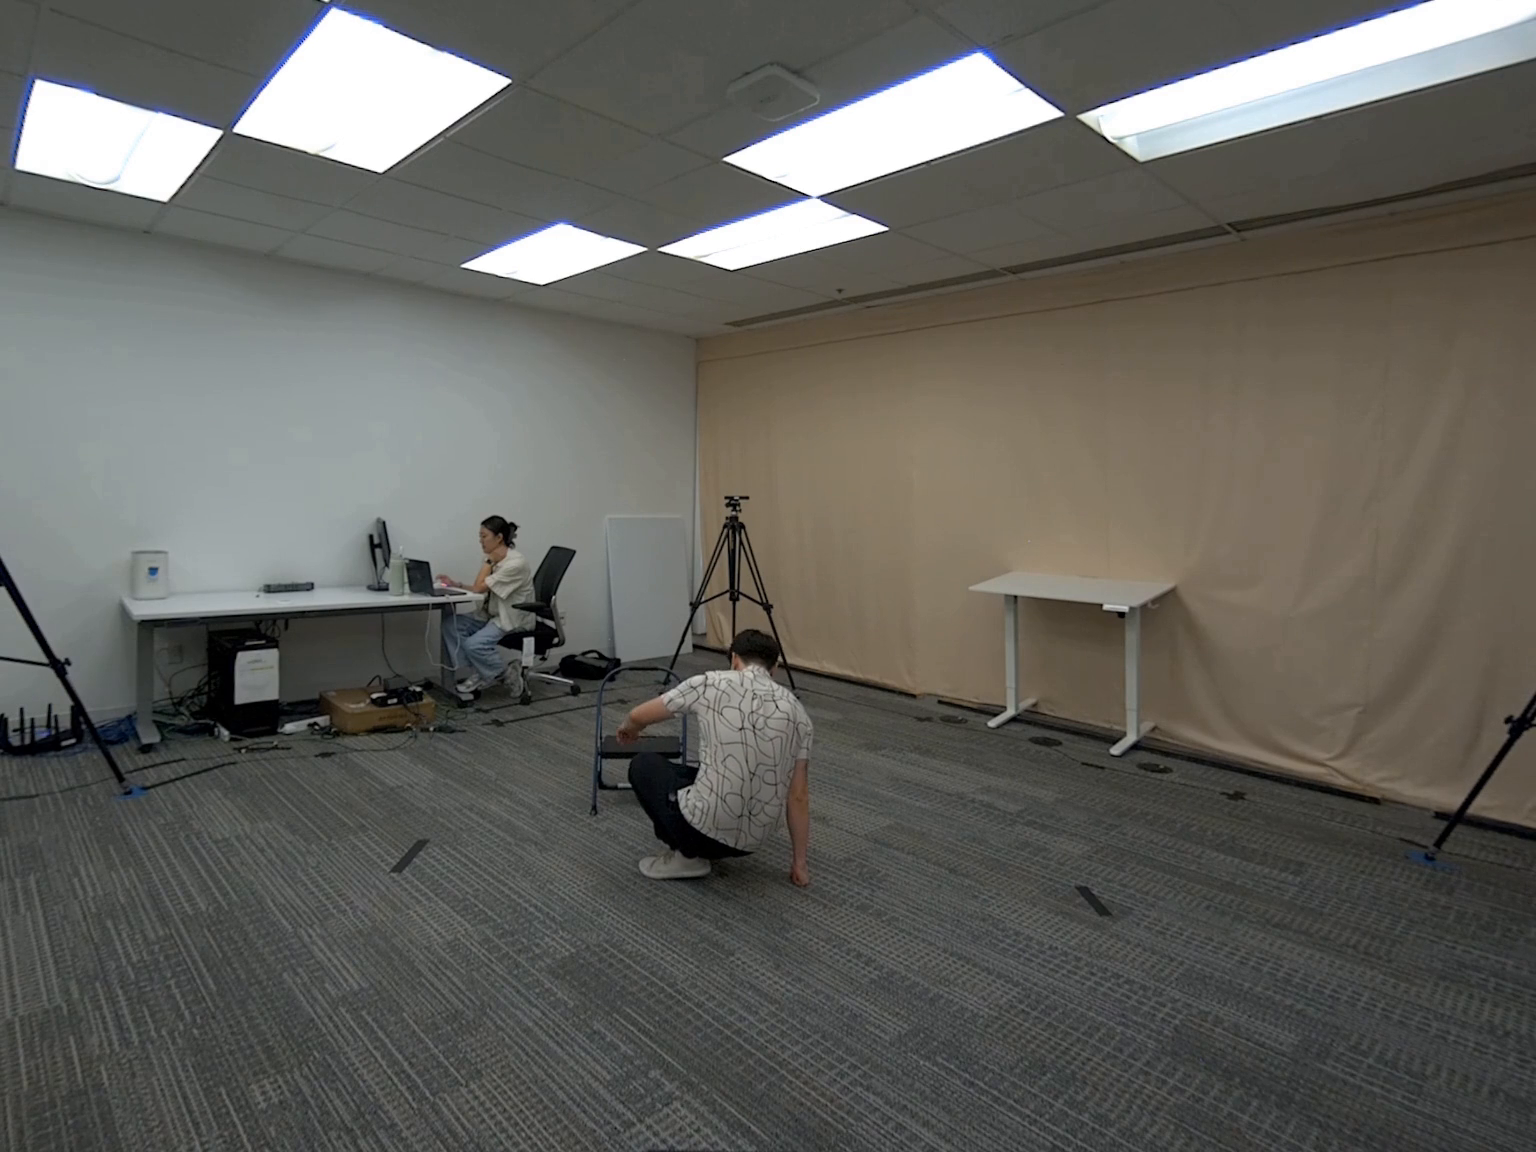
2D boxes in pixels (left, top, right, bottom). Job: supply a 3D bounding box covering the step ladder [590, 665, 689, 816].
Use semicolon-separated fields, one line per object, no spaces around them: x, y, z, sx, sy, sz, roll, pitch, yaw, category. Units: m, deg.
-0.585;0.729;3.832;0.429;0.604;0.352;1;4;-6;step ladder
